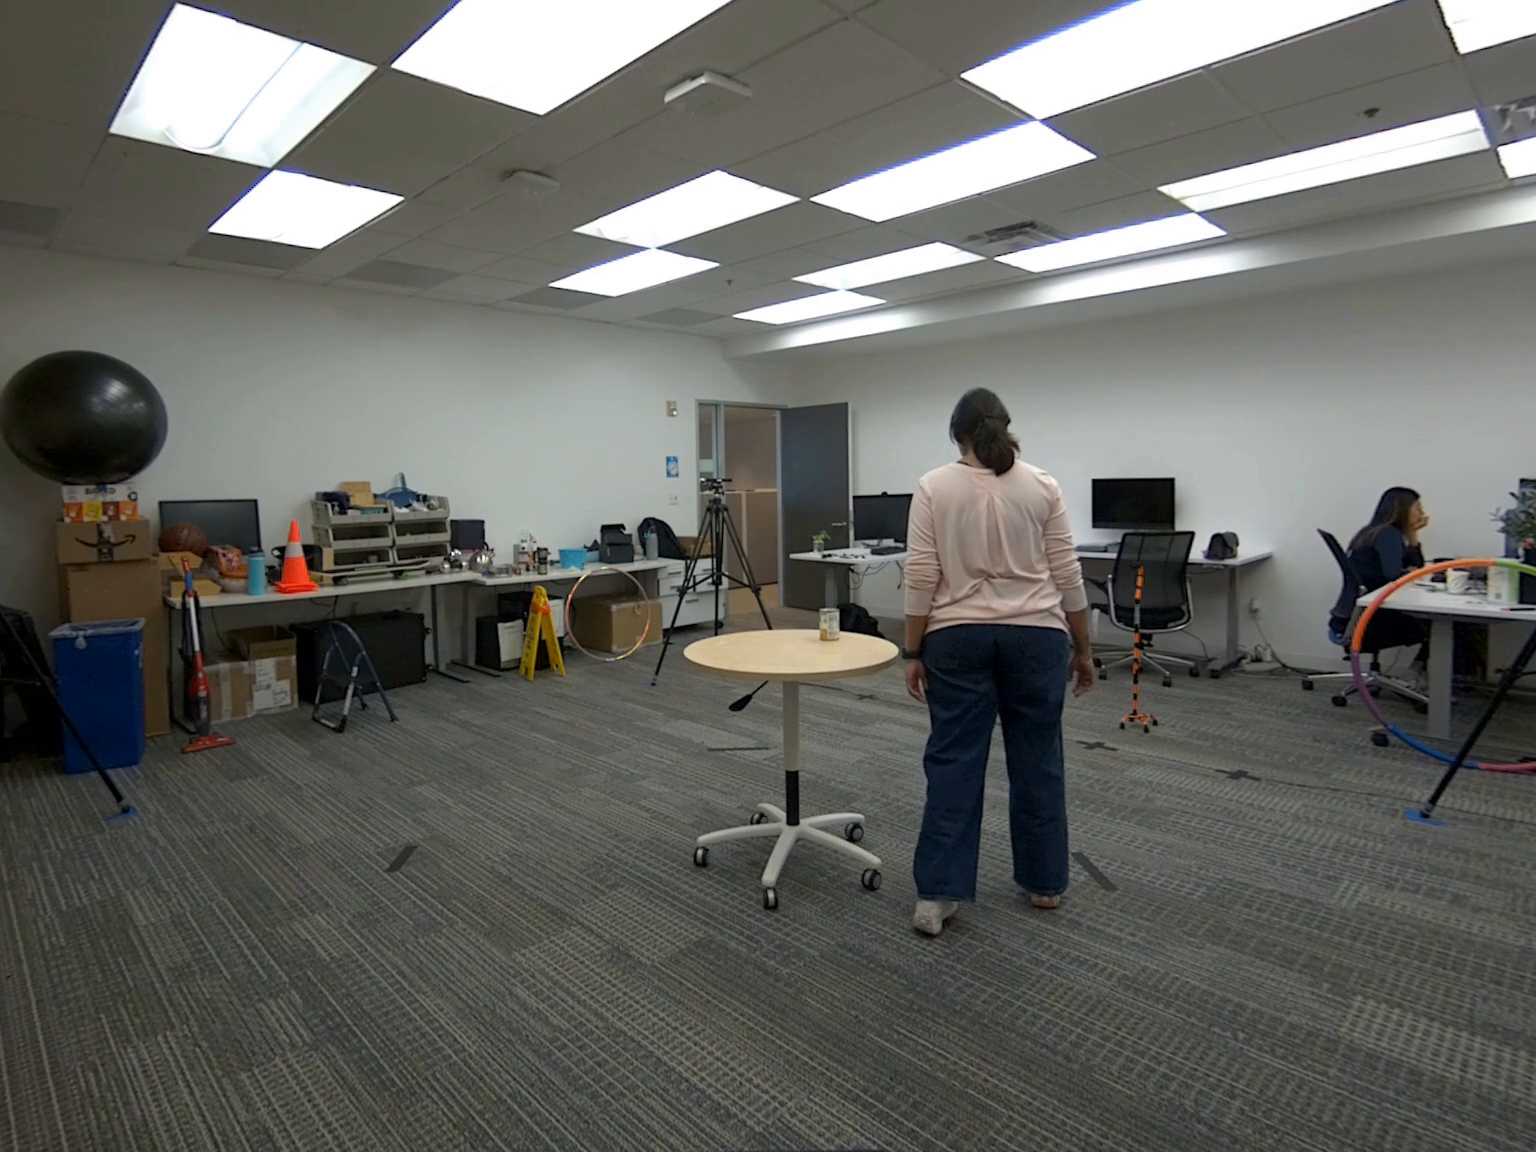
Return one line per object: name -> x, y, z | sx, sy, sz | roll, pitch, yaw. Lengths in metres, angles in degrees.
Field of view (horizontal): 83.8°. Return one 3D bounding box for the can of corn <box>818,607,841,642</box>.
can of corn -> 0.238, 0.184, 3.226 | 0.074, 0.110, 0.074 | 0, 5, -2
